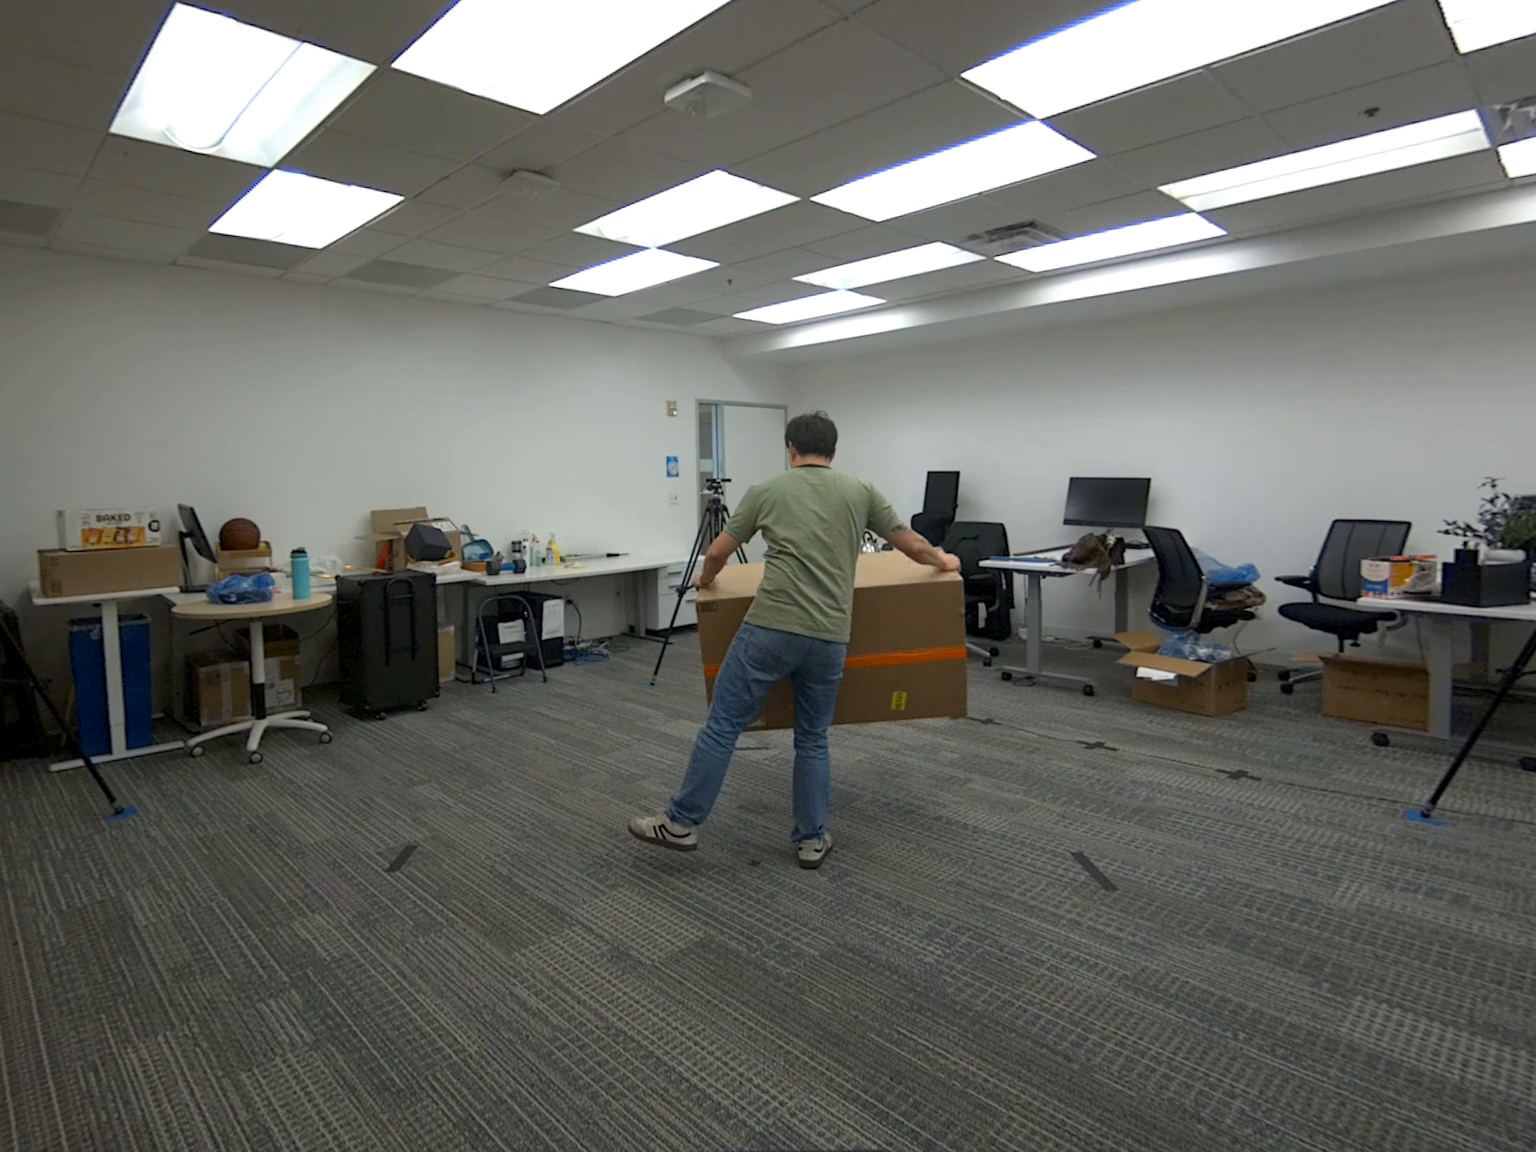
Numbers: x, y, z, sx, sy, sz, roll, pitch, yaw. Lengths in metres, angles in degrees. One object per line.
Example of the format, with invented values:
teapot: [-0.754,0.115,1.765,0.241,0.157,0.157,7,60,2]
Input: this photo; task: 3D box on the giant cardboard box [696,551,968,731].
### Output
giant cardboard box: [0.244,0.261,3.516,1.029,0.568,0.432,-5,17,3]
